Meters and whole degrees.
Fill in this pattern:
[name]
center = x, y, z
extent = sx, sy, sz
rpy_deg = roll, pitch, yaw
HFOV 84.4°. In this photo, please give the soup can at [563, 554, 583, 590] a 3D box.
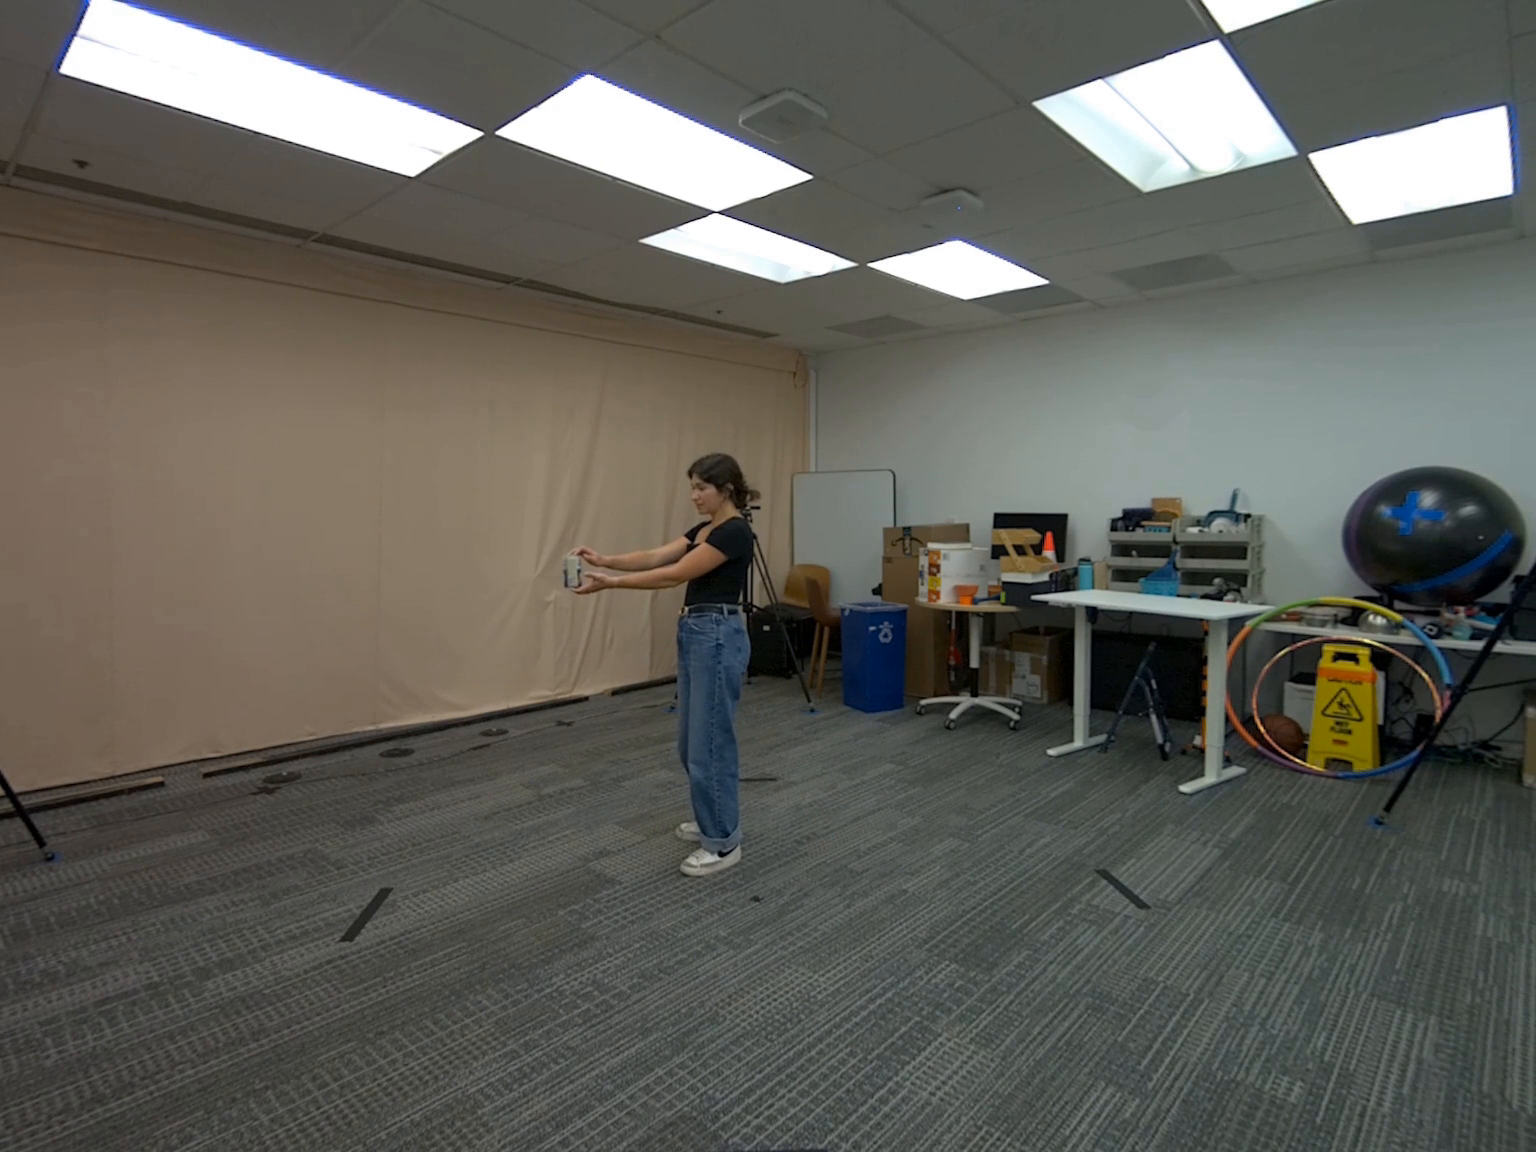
[soup can]
center = -0.722, -0.015, 3.130
extent = 0.067, 0.122, 0.067
rpy_deg = -3, -3, -2
